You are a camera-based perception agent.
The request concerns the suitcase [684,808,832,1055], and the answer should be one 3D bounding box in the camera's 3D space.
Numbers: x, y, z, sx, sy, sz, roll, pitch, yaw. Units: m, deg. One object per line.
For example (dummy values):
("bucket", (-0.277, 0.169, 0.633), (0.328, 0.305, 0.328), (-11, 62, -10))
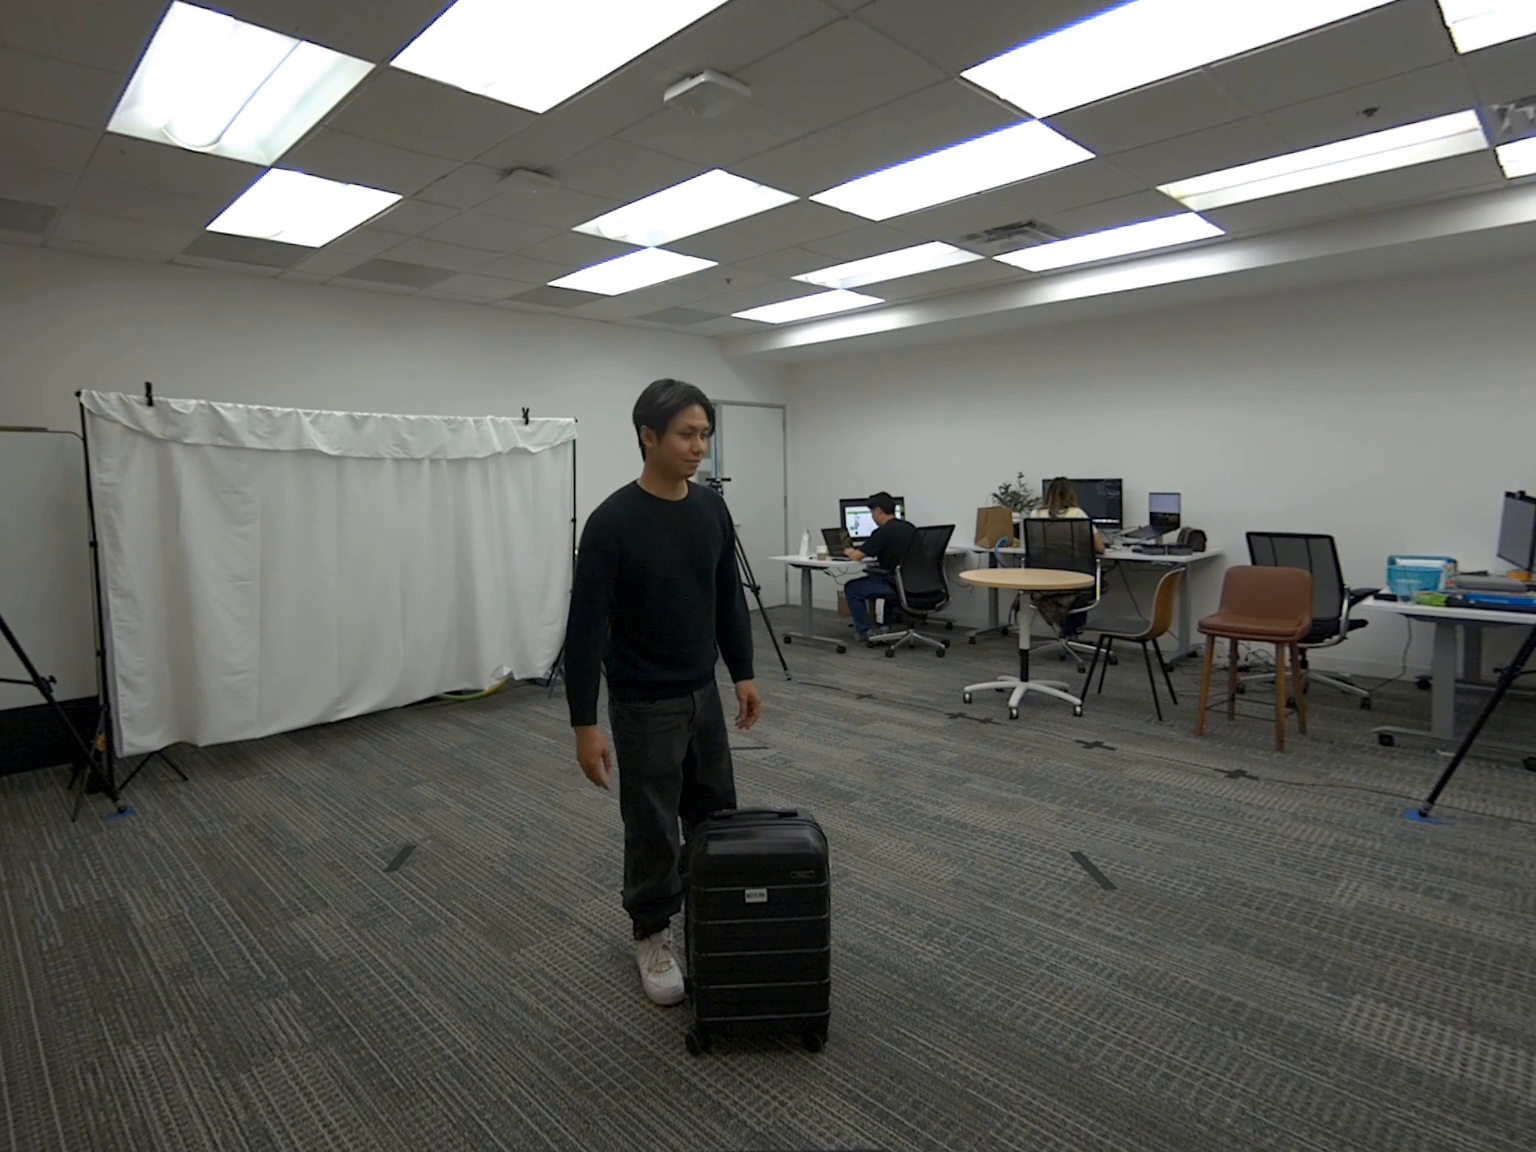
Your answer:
("suitcase", (-0.013, 0.880, 2.160), (0.374, 0.547, 0.250), (-1, 5, -3))
